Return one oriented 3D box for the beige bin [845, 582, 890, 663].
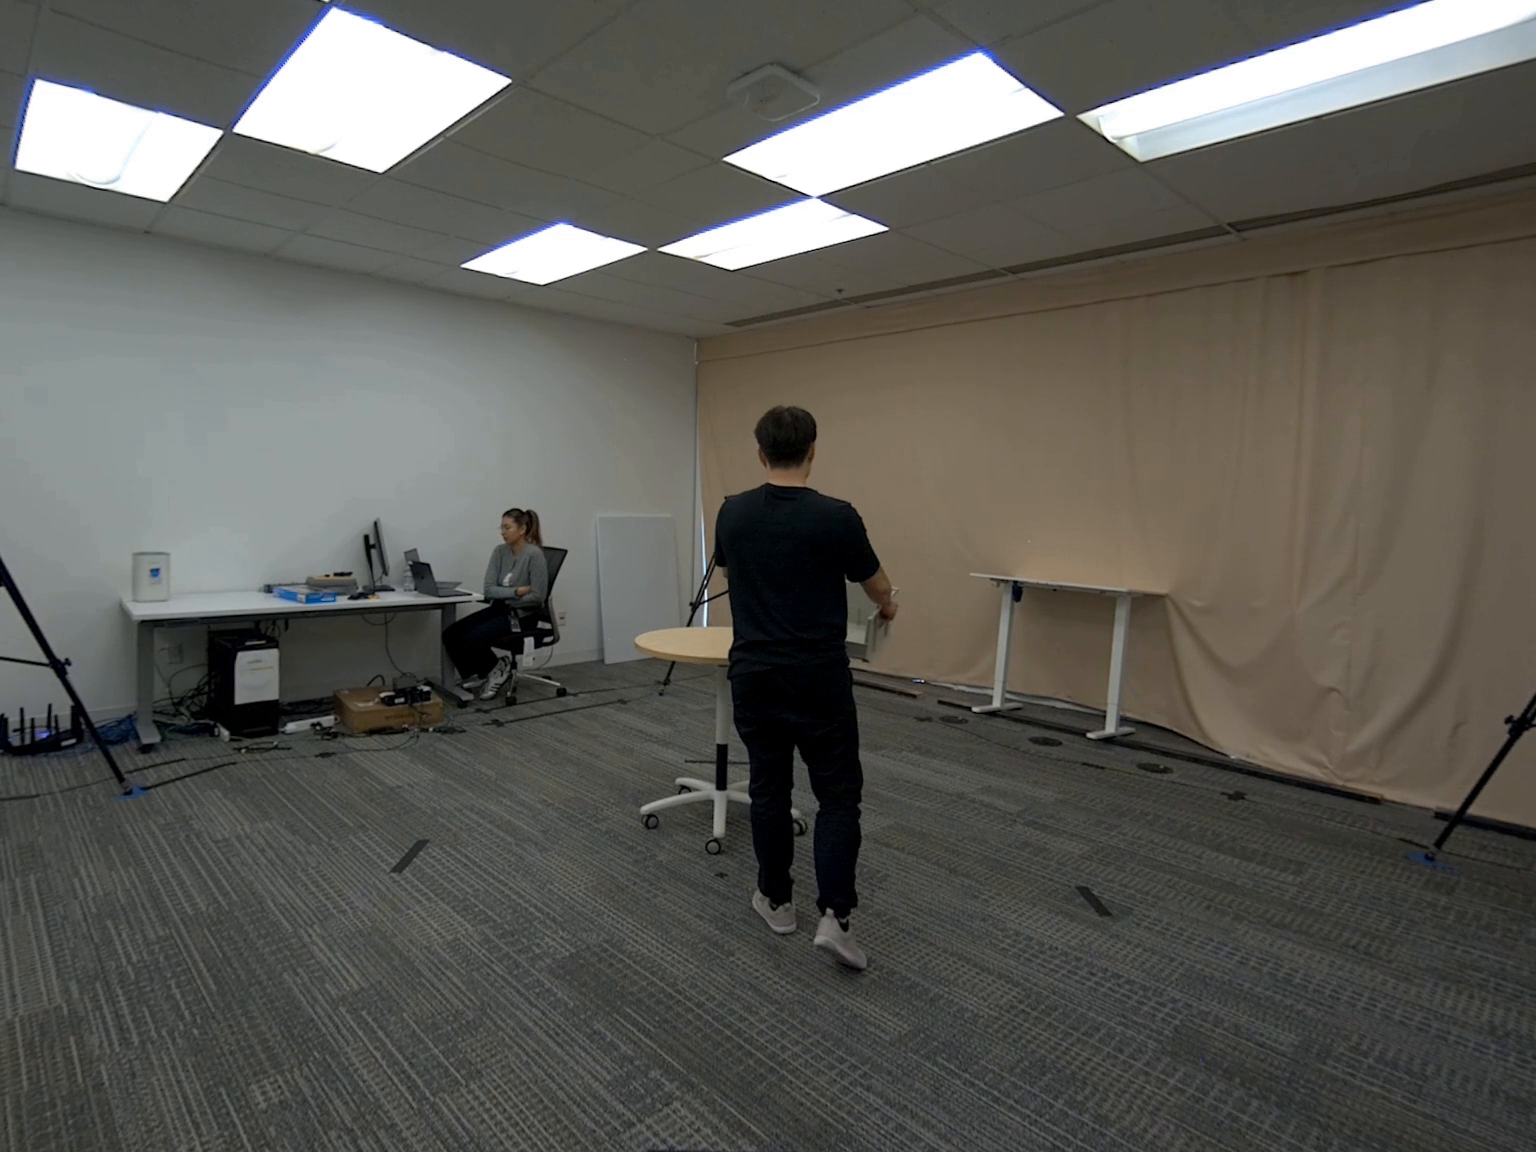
[{"bbox_3d":[0.219,0.161,3.100,0.431,0.187,0.374,7,17,24],"label":"beige bin"}]
